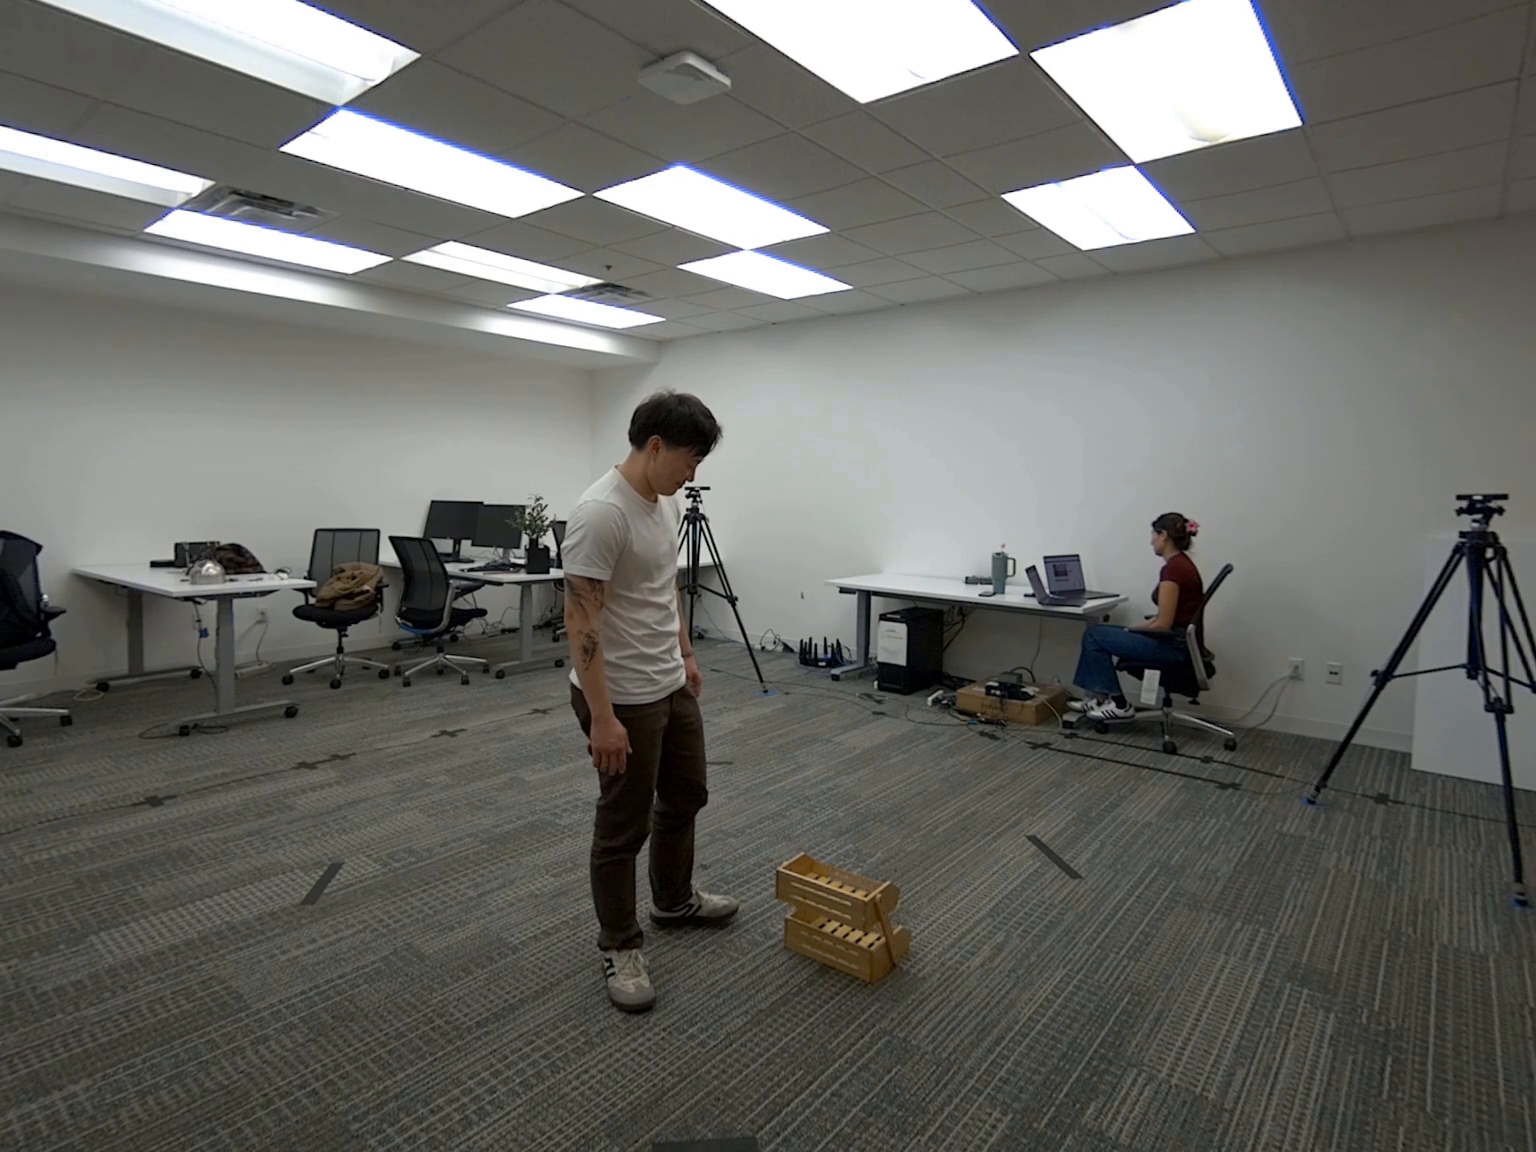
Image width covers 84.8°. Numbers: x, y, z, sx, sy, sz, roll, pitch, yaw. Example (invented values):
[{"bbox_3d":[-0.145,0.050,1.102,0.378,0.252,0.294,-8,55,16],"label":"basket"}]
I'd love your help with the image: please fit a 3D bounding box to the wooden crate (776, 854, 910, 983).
[{"bbox_3d":[0.220,0.991,2.561,0.335,0.272,0.293,4,5,38],"label":"wooden crate"}]
